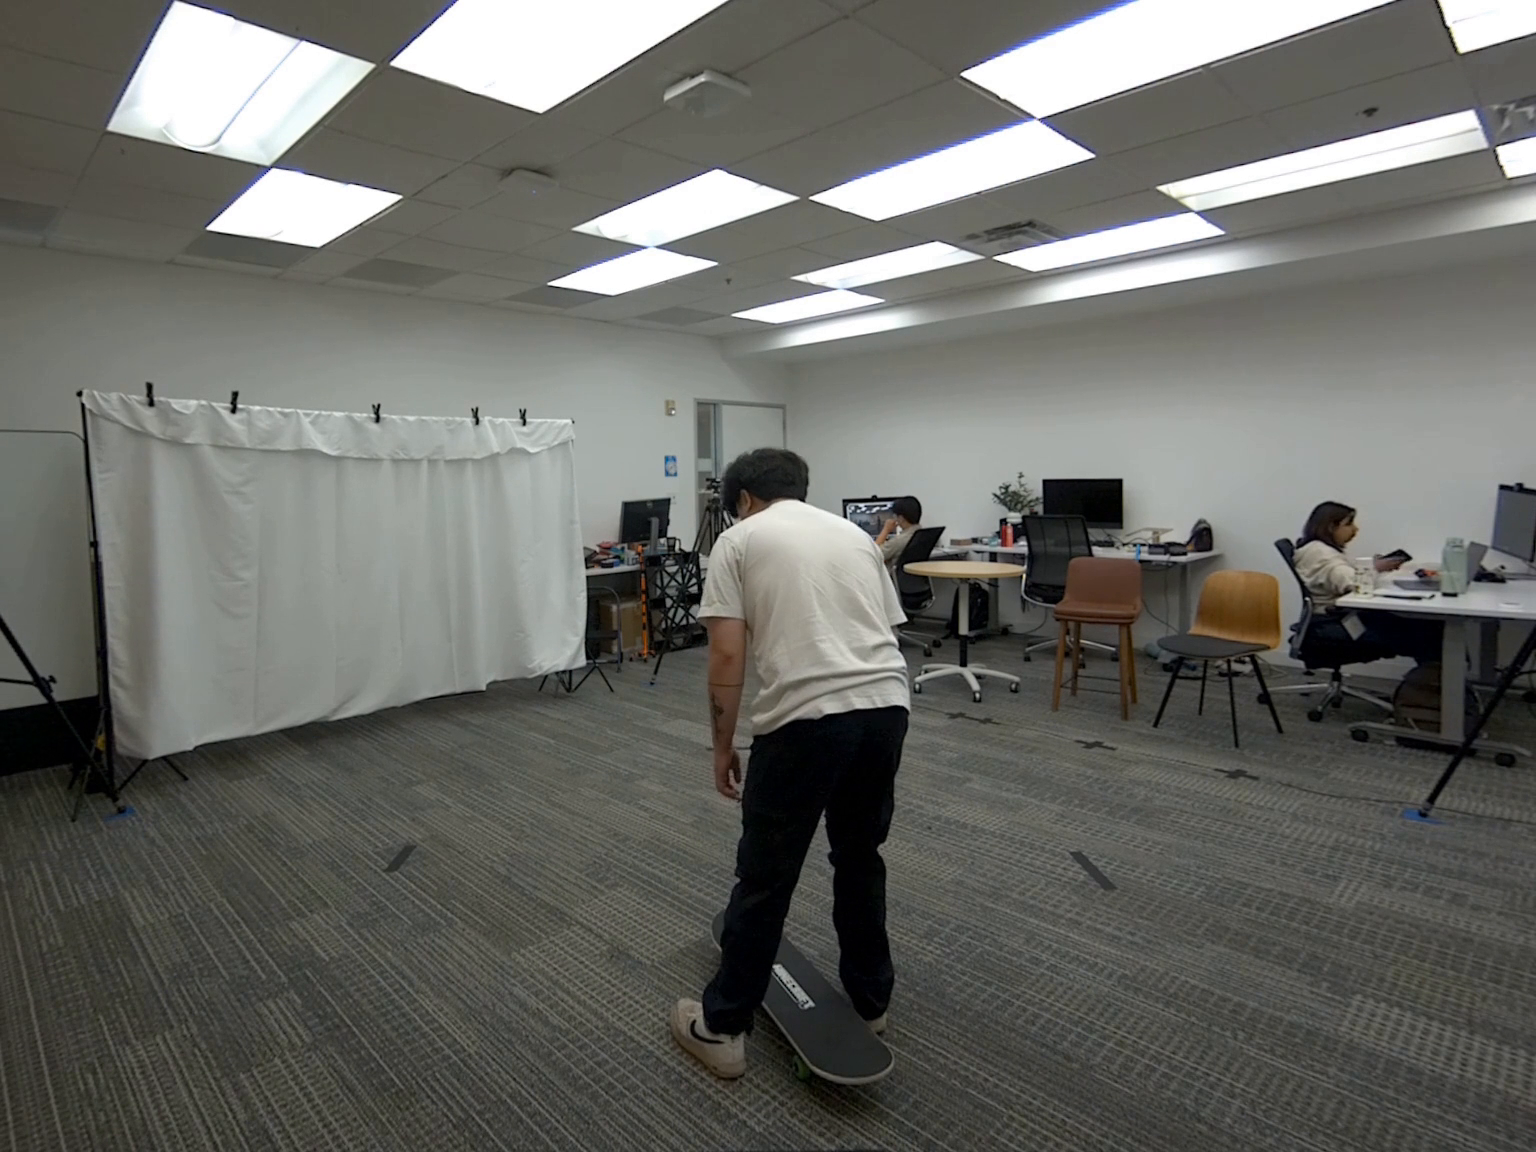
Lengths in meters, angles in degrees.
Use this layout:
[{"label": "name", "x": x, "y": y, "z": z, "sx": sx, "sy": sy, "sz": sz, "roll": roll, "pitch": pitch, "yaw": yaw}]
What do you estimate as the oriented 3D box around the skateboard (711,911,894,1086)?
[{"label": "skateboard", "x": 0.068, "y": 1.091, "z": 2.206, "sx": 0.189, "sy": 0.110, "sz": 0.805, "roll": -4, "pitch": 7, "yaw": -25}]
